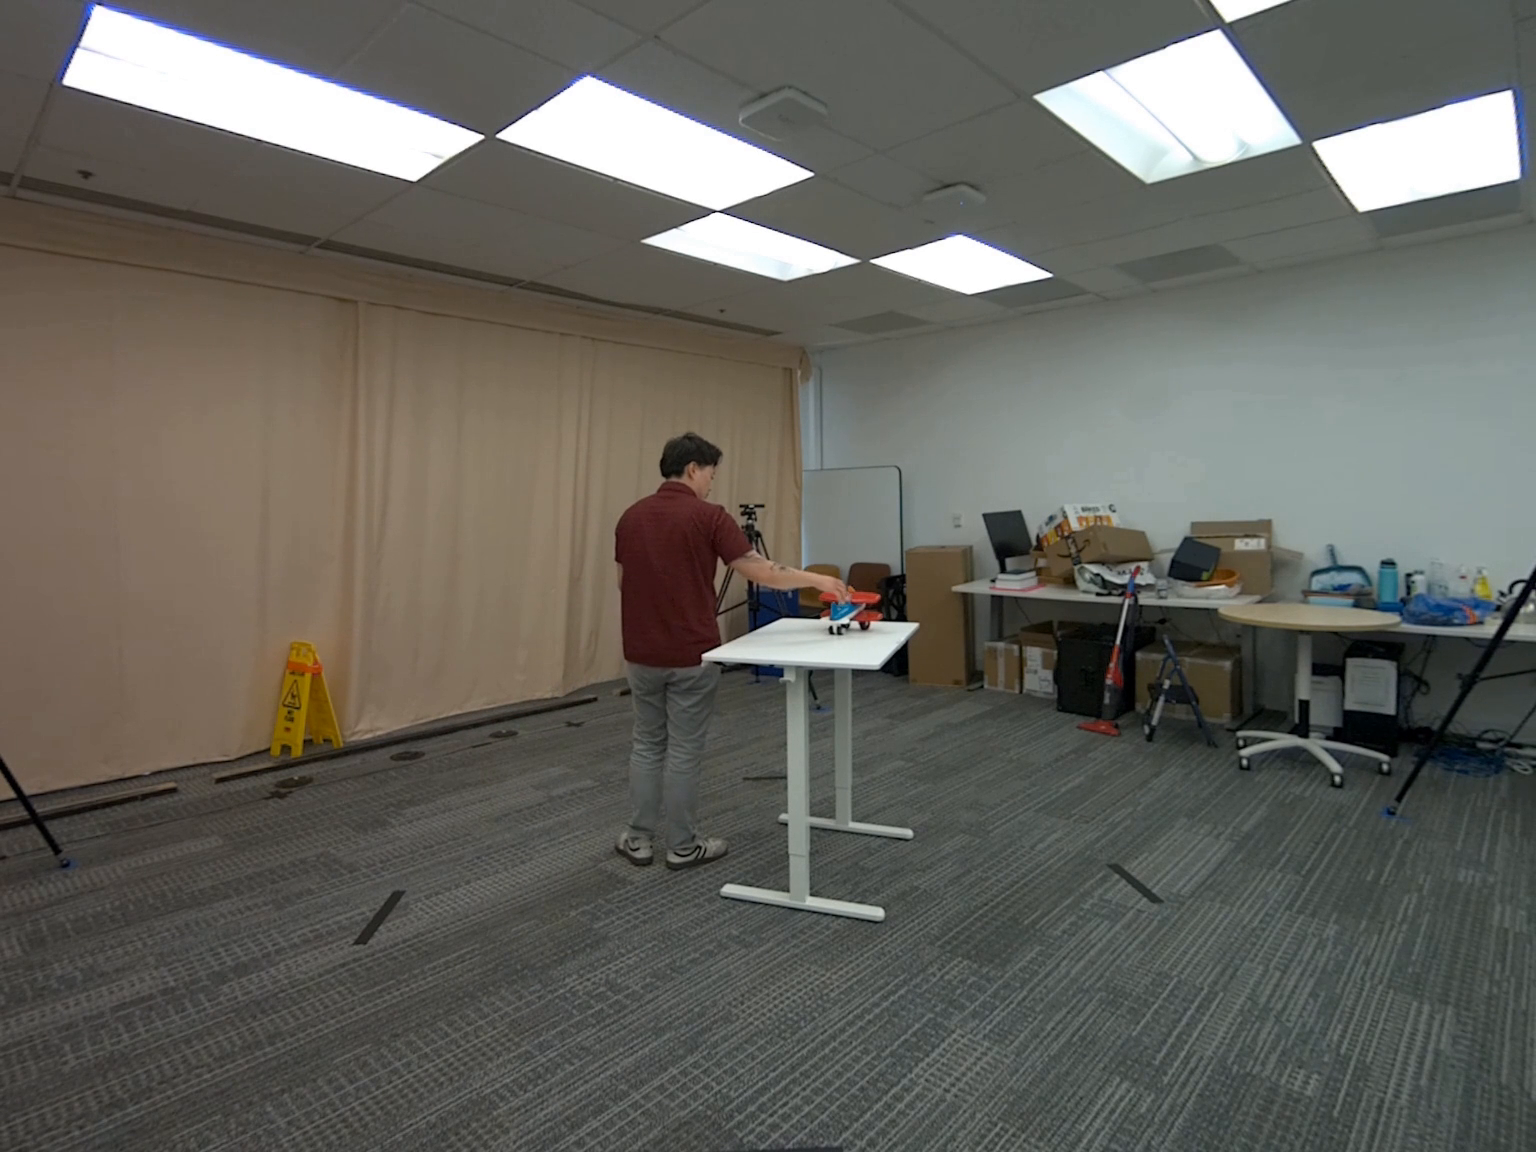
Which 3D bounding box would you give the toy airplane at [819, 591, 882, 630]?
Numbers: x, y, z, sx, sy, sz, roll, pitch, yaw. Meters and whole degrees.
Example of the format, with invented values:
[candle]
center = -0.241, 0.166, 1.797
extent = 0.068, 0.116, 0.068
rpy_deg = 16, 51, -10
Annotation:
[toy airplane]
center = 0.333, 0.149, 3.339
extent = 0.252, 0.156, 0.259
rpy_deg = 1, 5, 3
